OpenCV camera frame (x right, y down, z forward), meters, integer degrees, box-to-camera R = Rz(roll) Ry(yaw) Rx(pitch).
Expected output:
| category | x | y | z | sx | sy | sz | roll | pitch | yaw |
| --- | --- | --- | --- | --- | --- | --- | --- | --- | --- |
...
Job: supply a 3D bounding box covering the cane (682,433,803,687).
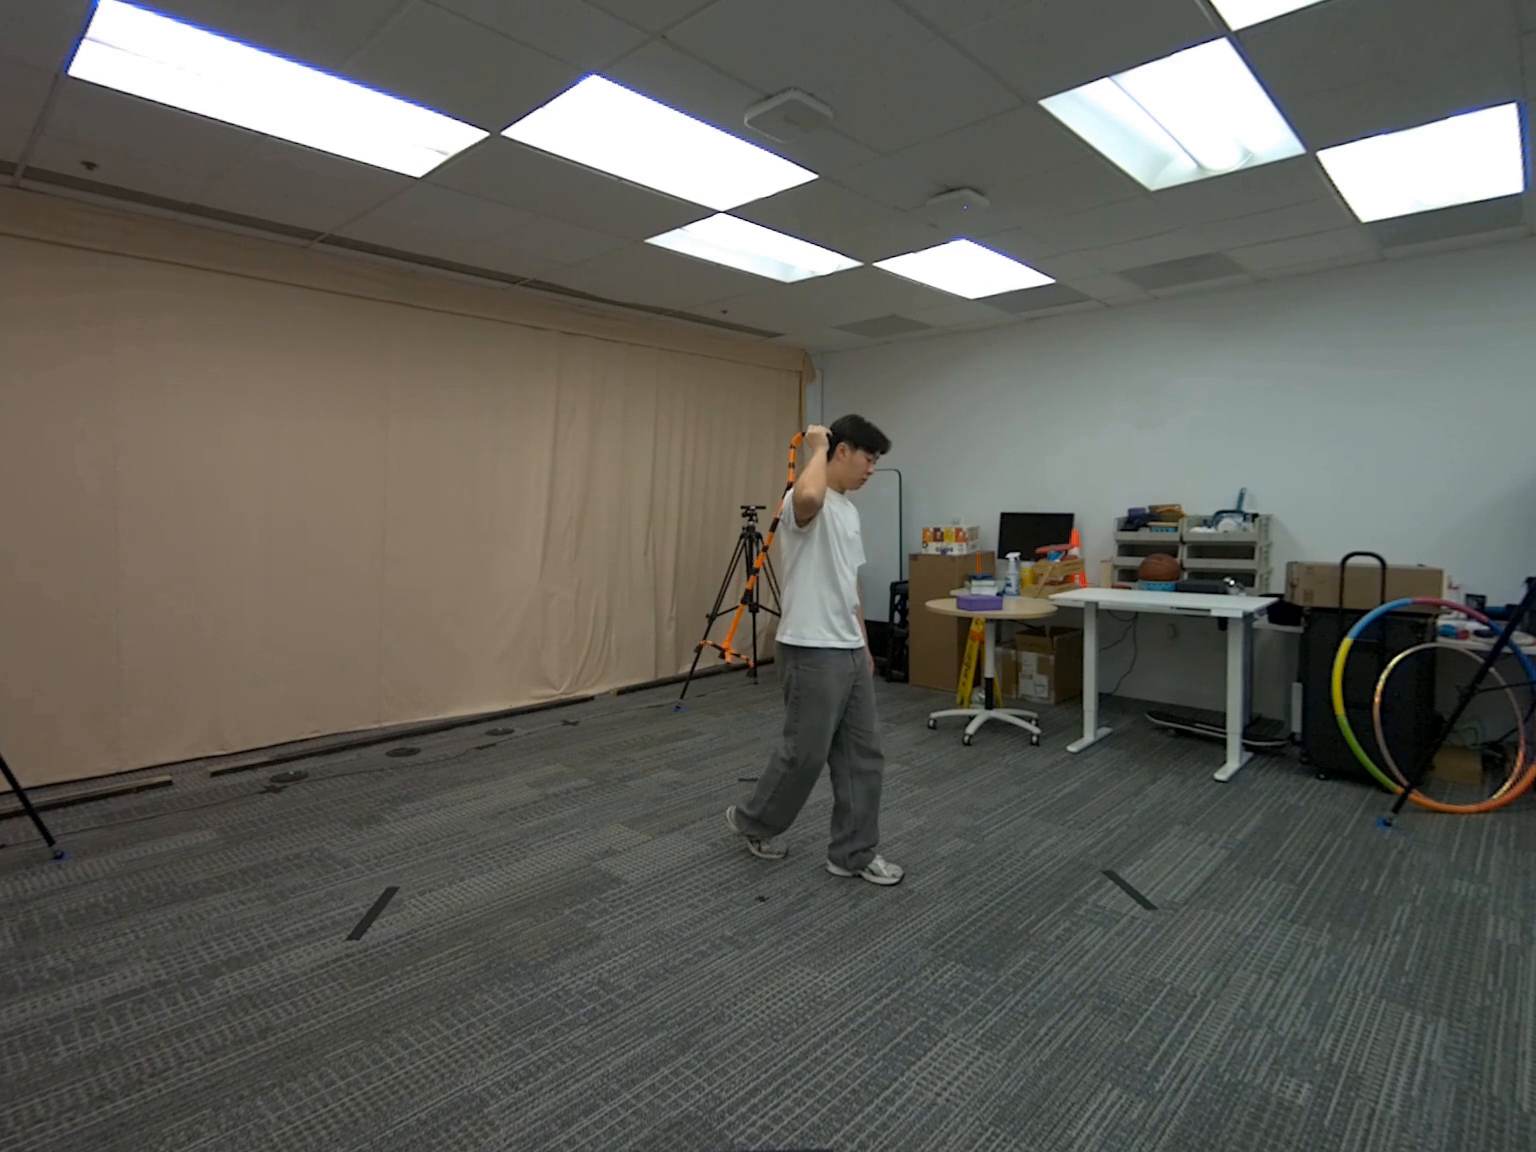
| category | x | y | z | sx | sy | sz | roll | pitch | yaw |
| --- | --- | --- | --- | --- | --- | --- | --- | --- | --- |
| cane | -0.003 | -0.099 | 3.053 | 0.214 | 0.907 | 0.146 | 23 | 3 | 43 |
